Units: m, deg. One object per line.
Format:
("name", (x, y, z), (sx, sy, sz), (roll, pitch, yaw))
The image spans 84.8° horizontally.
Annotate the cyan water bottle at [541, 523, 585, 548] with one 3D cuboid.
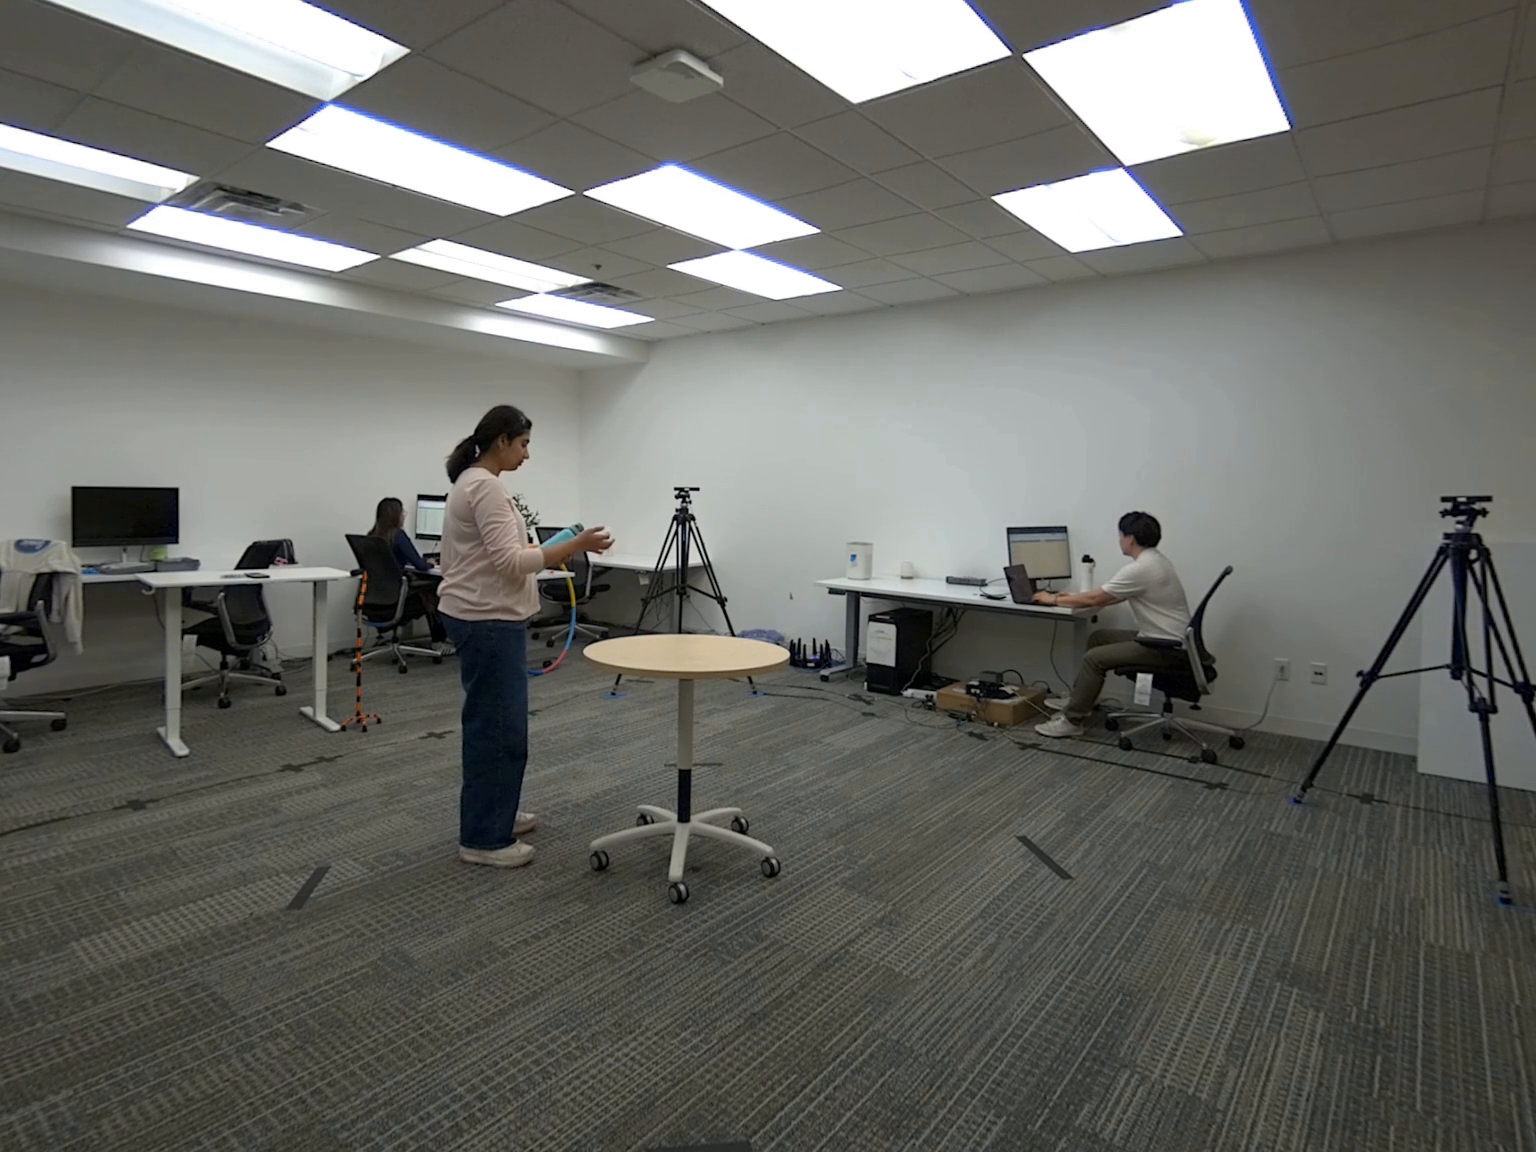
("cyan water bottle", (-0.865, -0.110, 3.404), (0.282, 0.090, 0.095), (-38, 23, -25))
